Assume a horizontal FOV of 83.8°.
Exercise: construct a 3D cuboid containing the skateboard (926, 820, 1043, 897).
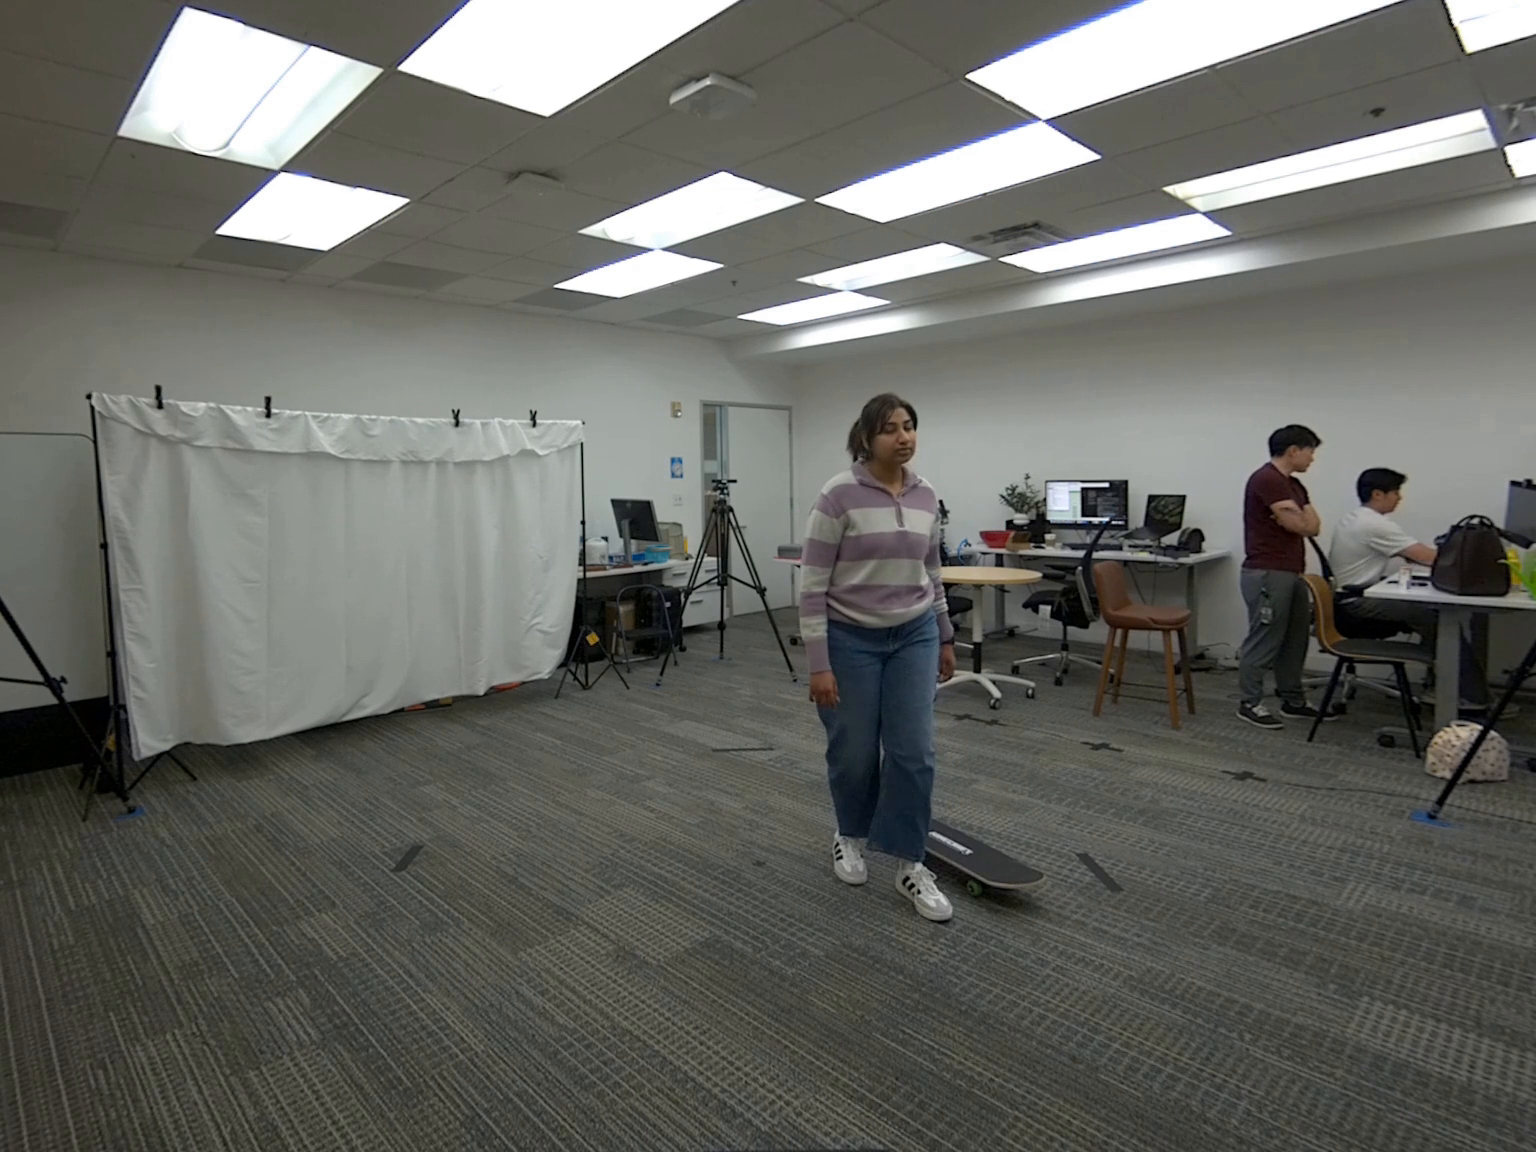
[{"bbox_3d":[0.646,0.983,3.052,0.189,0.110,0.807,-6,8,-29],"label":"skateboard"}]
